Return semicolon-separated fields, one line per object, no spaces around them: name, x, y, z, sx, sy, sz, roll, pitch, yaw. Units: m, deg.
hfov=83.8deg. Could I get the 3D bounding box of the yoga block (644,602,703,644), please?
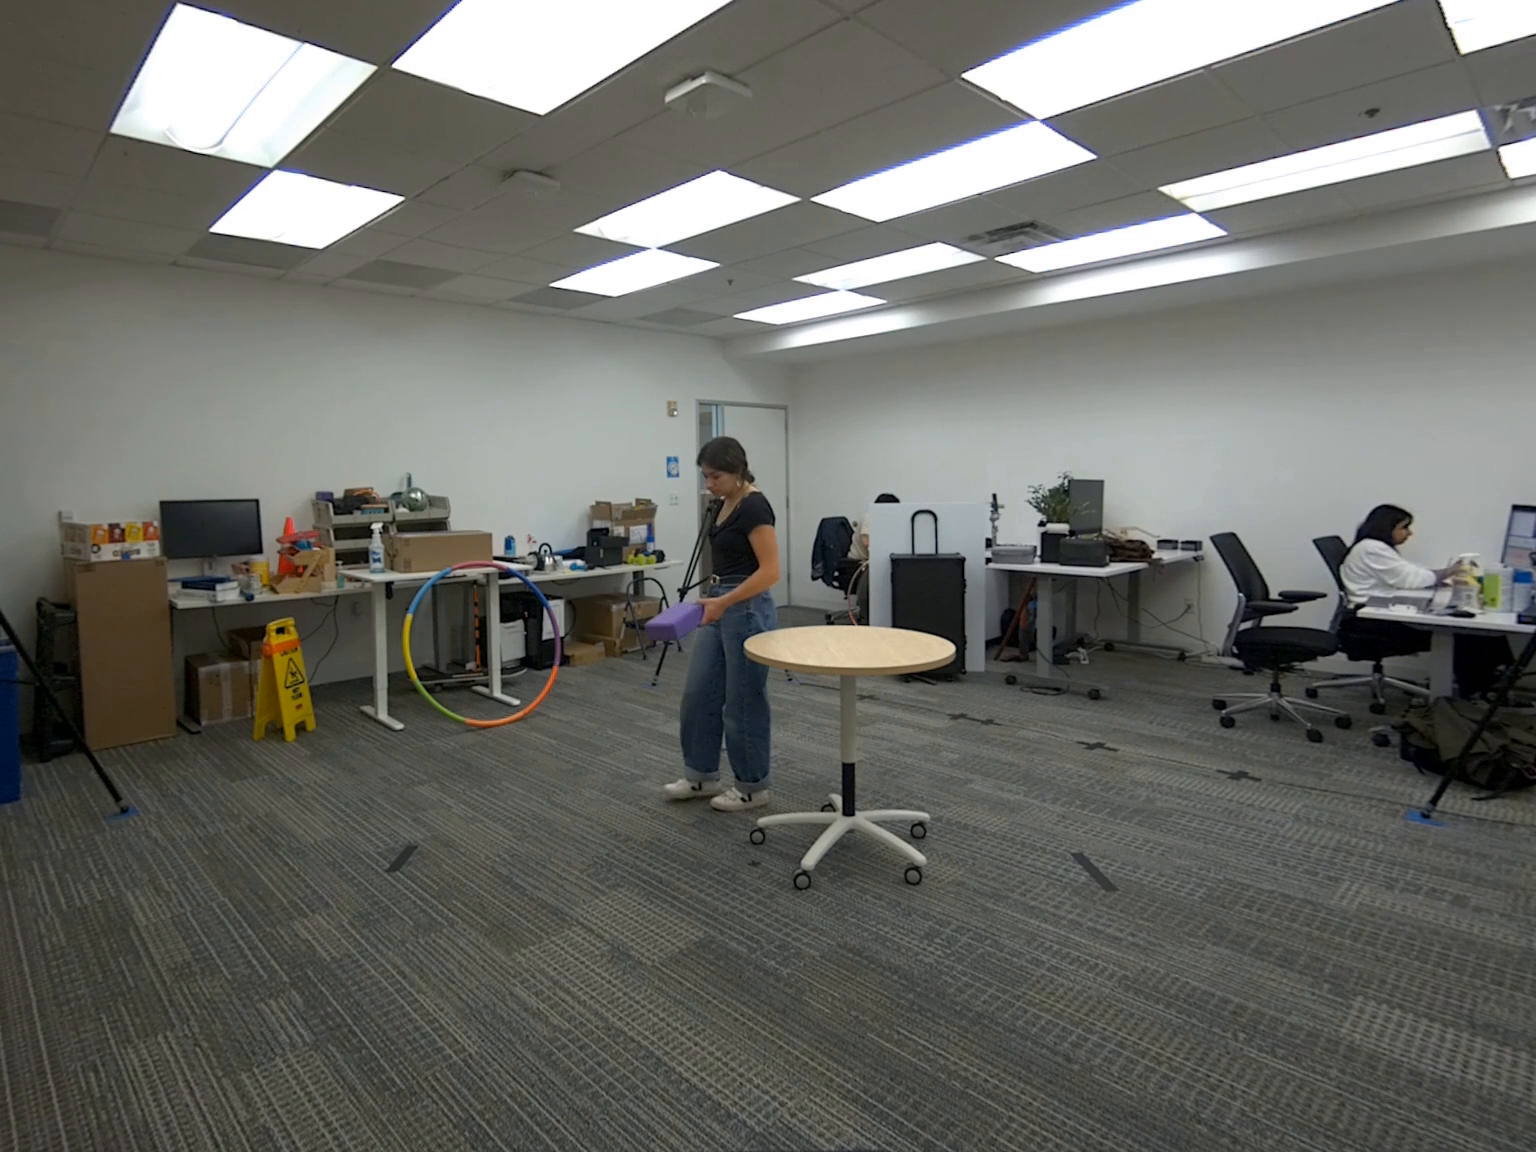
yoga block;-0.362;0.185;3.353;0.153;0.075;0.227;-2;19;31
